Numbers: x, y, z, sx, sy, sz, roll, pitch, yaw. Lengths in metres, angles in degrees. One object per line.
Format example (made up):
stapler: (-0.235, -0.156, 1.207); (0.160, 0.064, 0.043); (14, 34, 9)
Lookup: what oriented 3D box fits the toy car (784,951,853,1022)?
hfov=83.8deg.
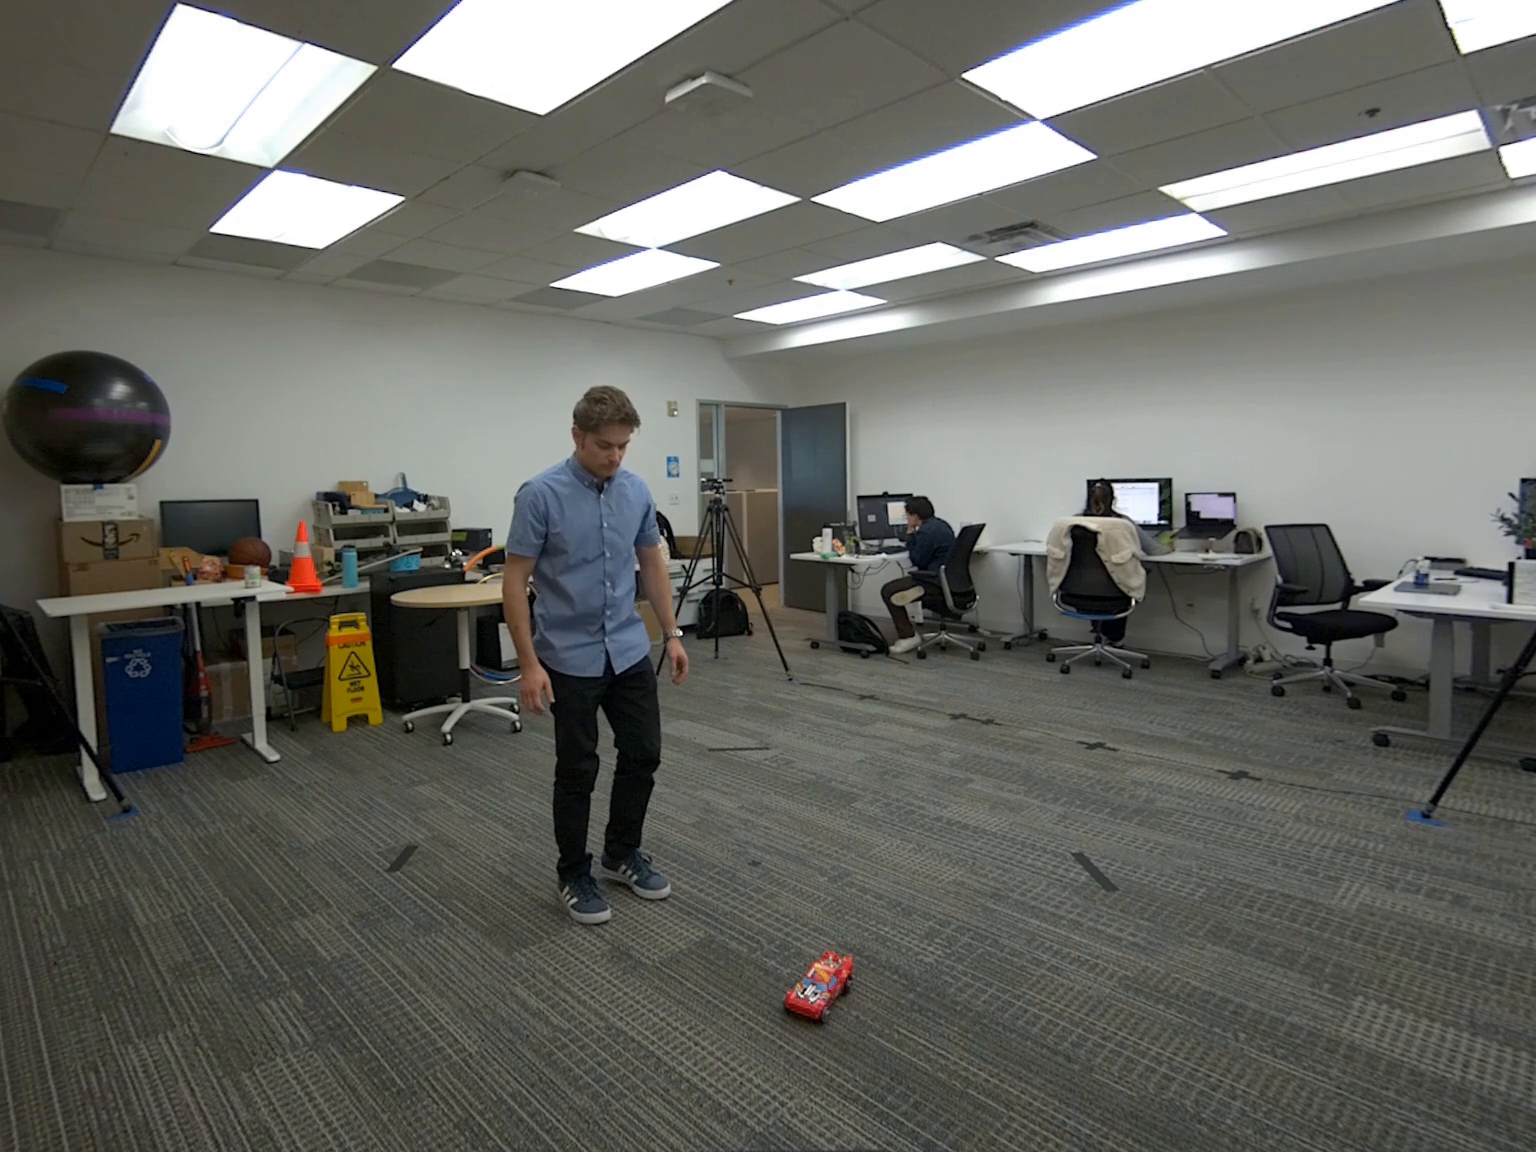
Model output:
toy car: (0.155, 1.102, 2.301); (0.134, 0.082, 0.252); (2, 19, 29)
